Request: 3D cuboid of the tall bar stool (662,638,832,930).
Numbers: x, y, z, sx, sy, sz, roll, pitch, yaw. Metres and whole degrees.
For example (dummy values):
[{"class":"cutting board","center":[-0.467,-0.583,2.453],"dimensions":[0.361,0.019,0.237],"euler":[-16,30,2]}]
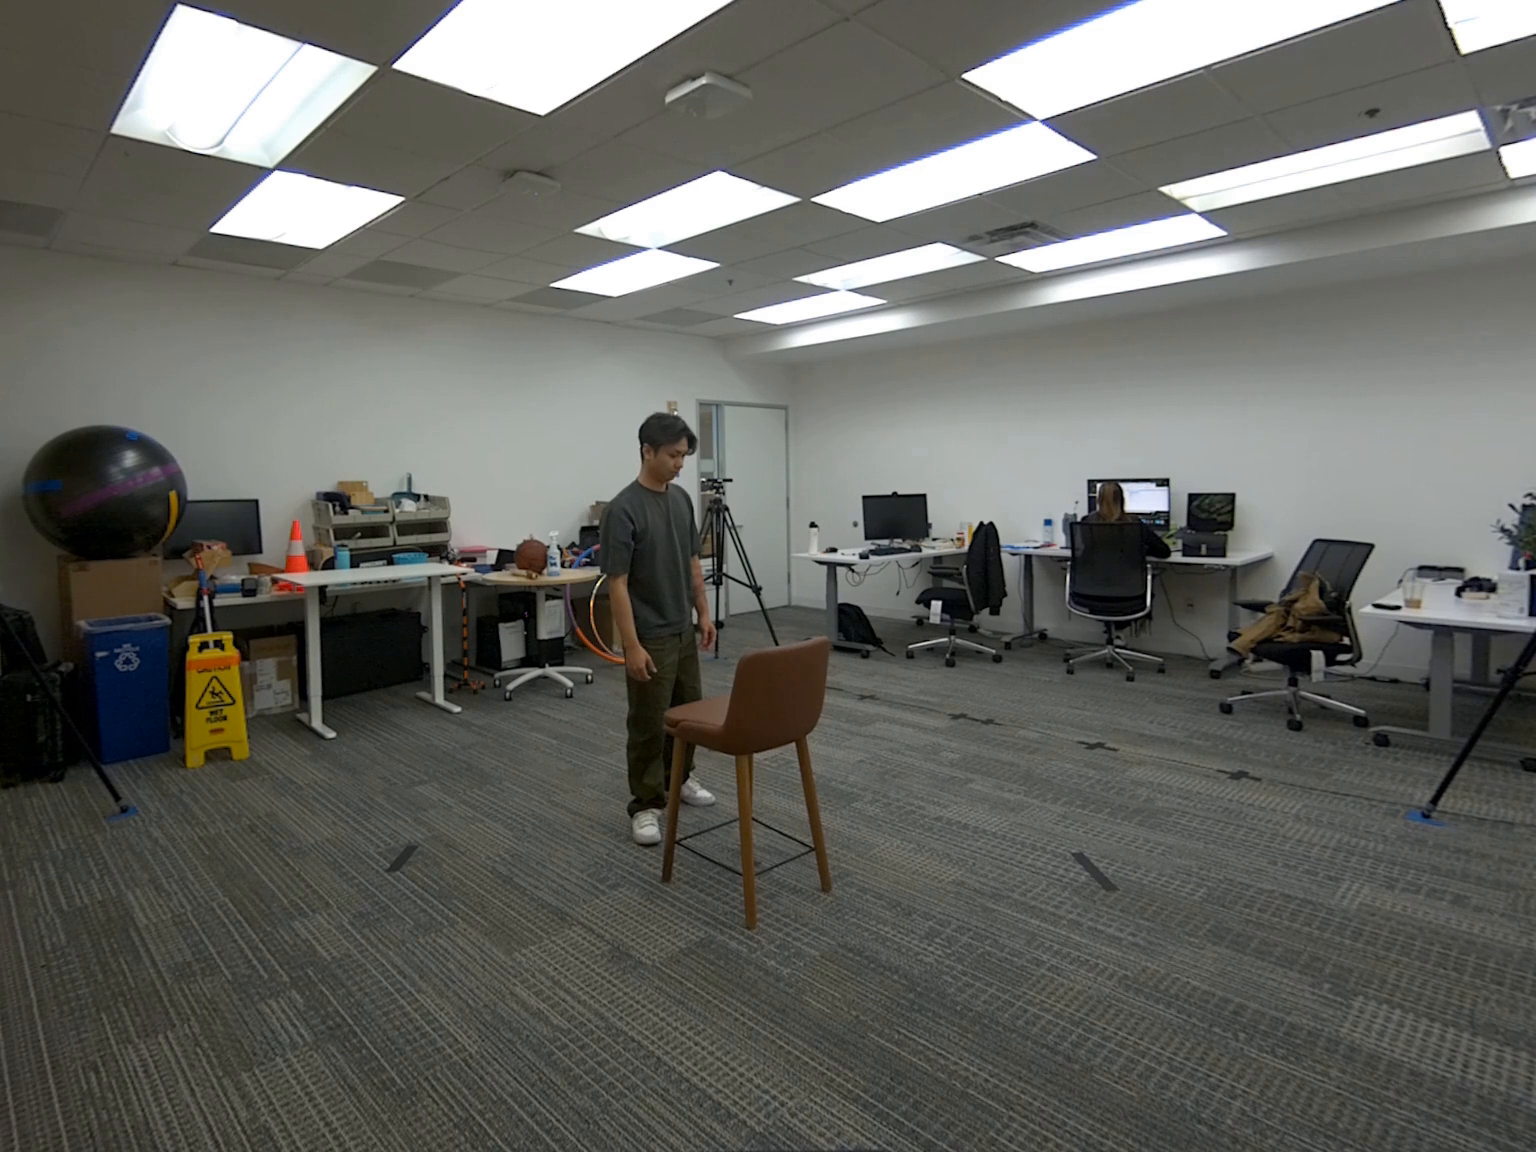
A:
[{"class":"tall bar stool","center":[-0.070,0.630,2.910],"dimensions":[0.444,0.885,0.483],"euler":[-4,8,-42]}]
